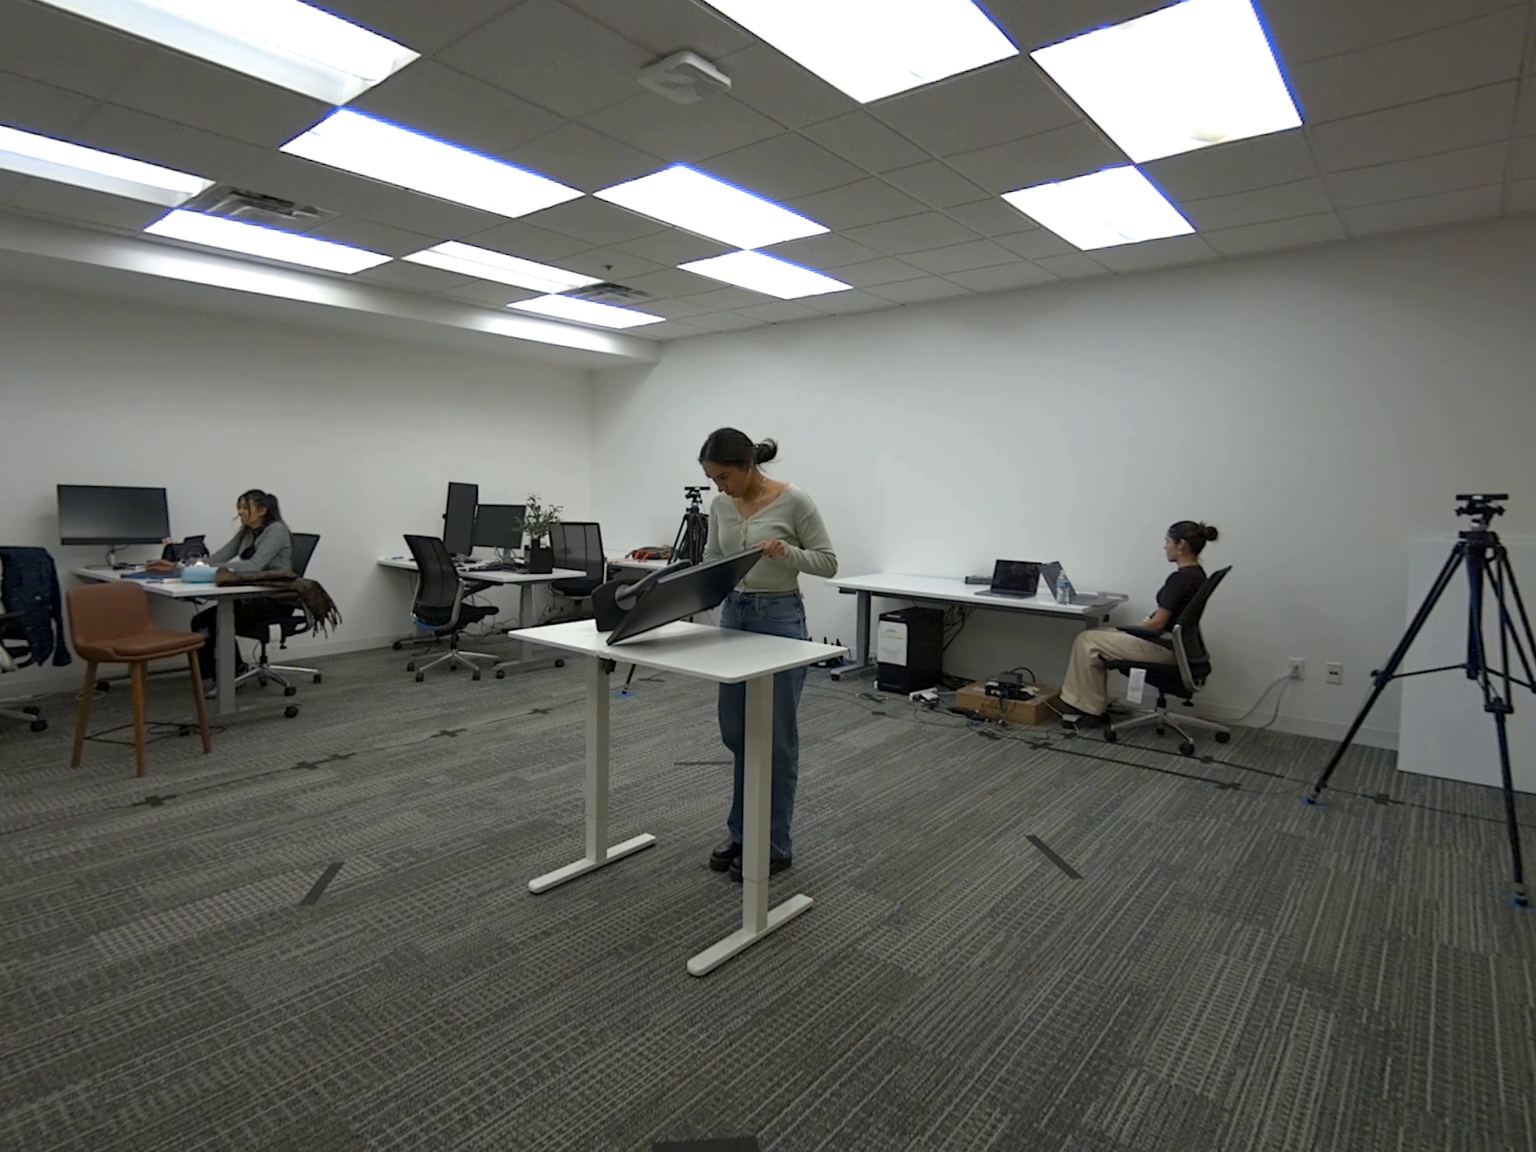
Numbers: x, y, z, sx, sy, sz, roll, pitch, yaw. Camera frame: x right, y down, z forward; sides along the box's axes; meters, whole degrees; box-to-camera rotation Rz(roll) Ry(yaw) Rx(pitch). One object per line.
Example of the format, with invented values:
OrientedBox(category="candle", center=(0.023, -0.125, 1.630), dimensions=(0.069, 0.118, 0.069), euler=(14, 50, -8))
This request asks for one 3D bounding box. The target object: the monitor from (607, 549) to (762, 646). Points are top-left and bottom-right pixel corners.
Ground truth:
OrientedBox(category="monitor", center=(-0.376, 0.040, 2.854), dimensions=(0.533, 0.187, 0.528), euler=(-17, 3, 41))
